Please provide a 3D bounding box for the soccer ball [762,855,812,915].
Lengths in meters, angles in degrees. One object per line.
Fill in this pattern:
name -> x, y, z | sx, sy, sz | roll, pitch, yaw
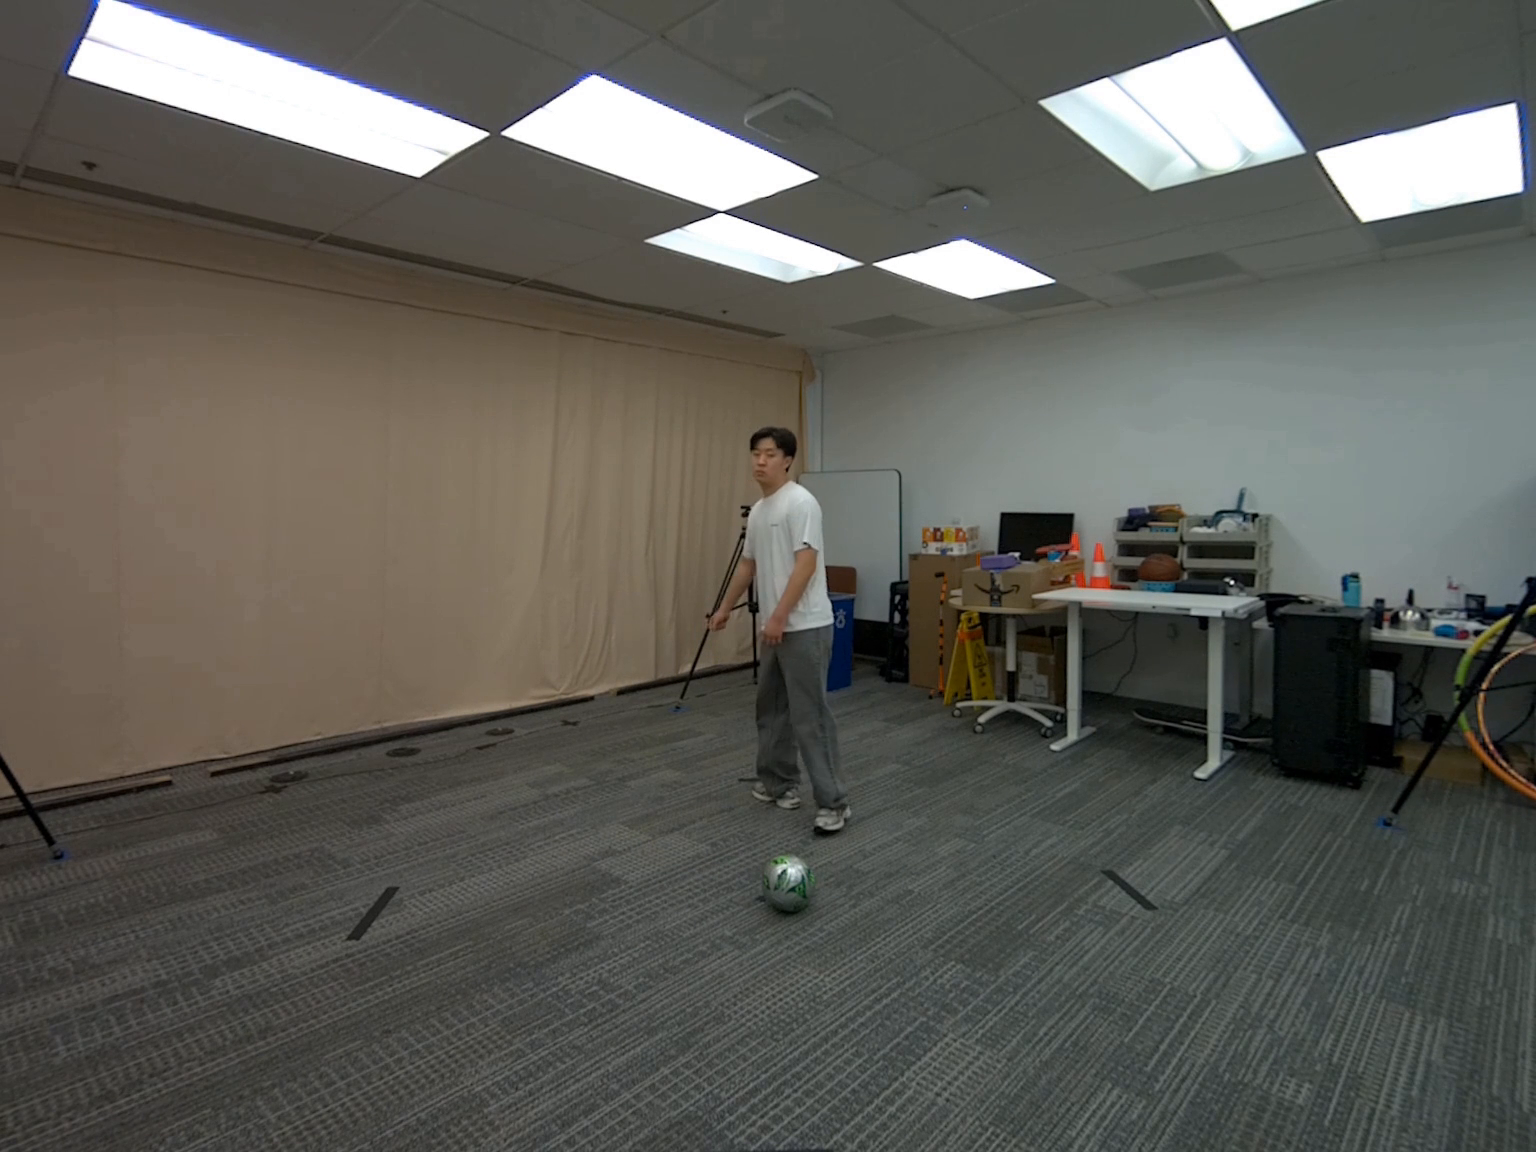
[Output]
soccer ball -> 0.067, 1.050, 2.907 | 0.187, 0.187, 0.188 | 0, 4, -2
